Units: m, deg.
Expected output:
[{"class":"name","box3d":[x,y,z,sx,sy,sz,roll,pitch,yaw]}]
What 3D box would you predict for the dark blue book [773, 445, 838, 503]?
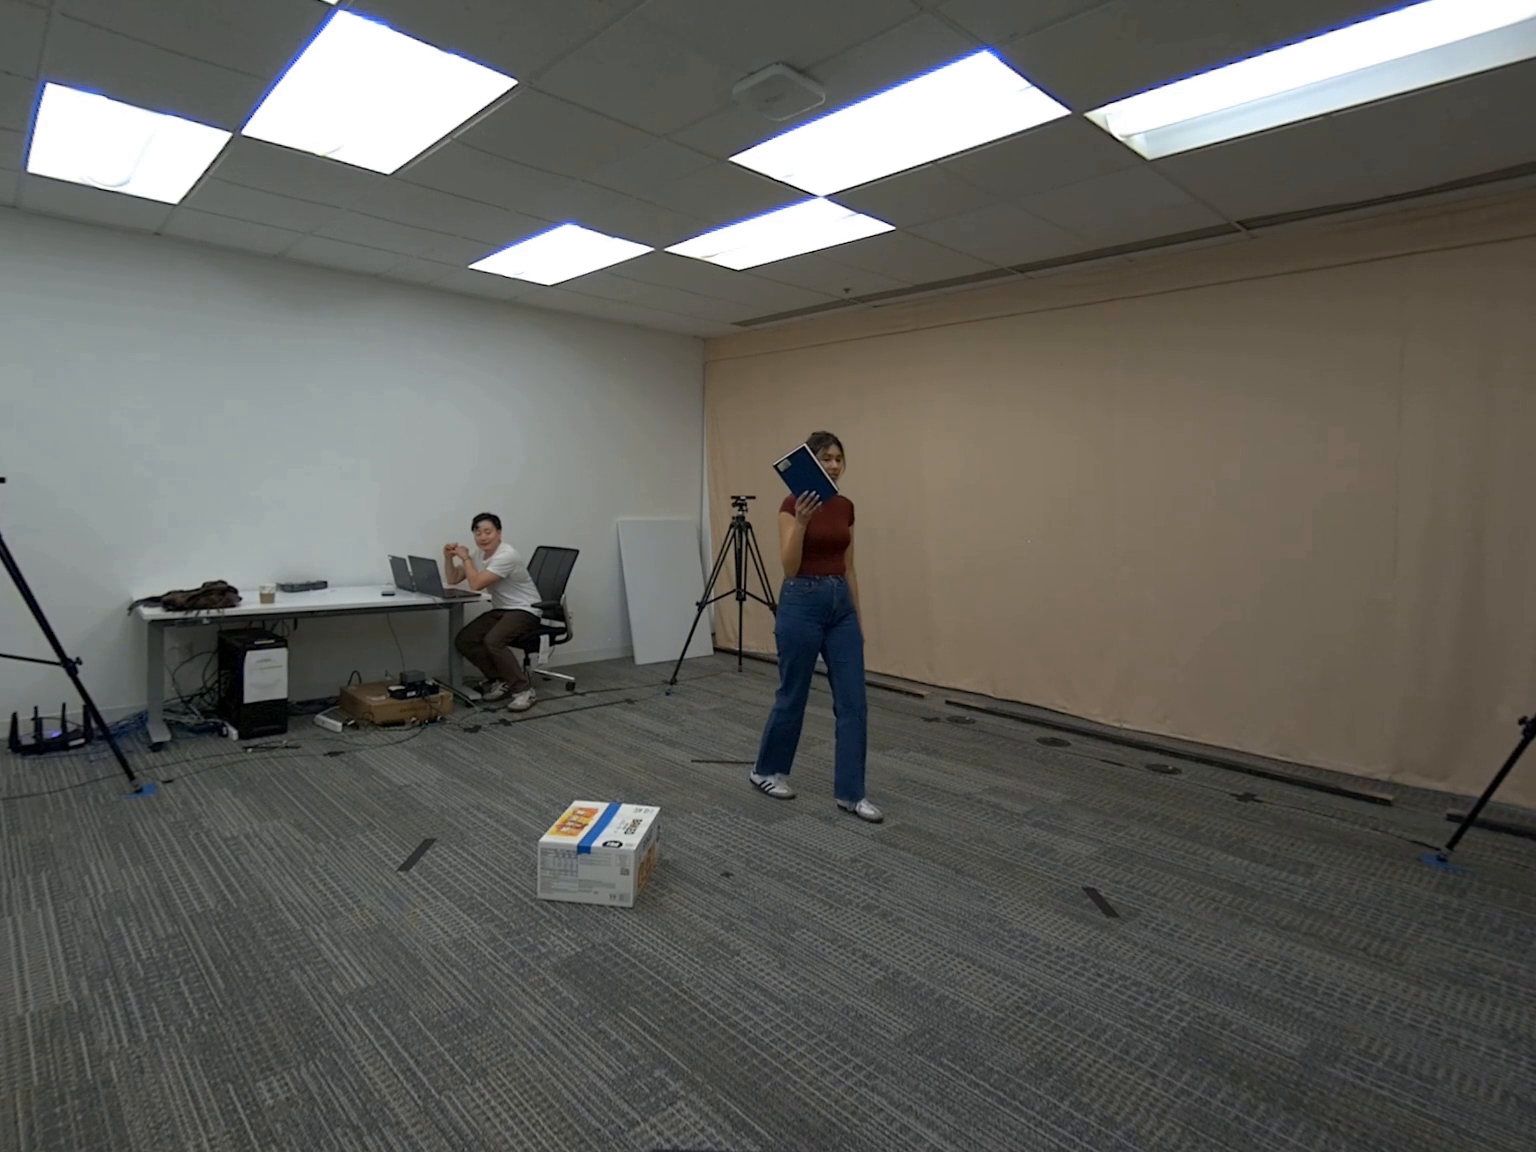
[{"class":"dark blue book","box3d":[0.151,-0.406,3.442,0.164,0.241,0.045,-31,16,21]}]
